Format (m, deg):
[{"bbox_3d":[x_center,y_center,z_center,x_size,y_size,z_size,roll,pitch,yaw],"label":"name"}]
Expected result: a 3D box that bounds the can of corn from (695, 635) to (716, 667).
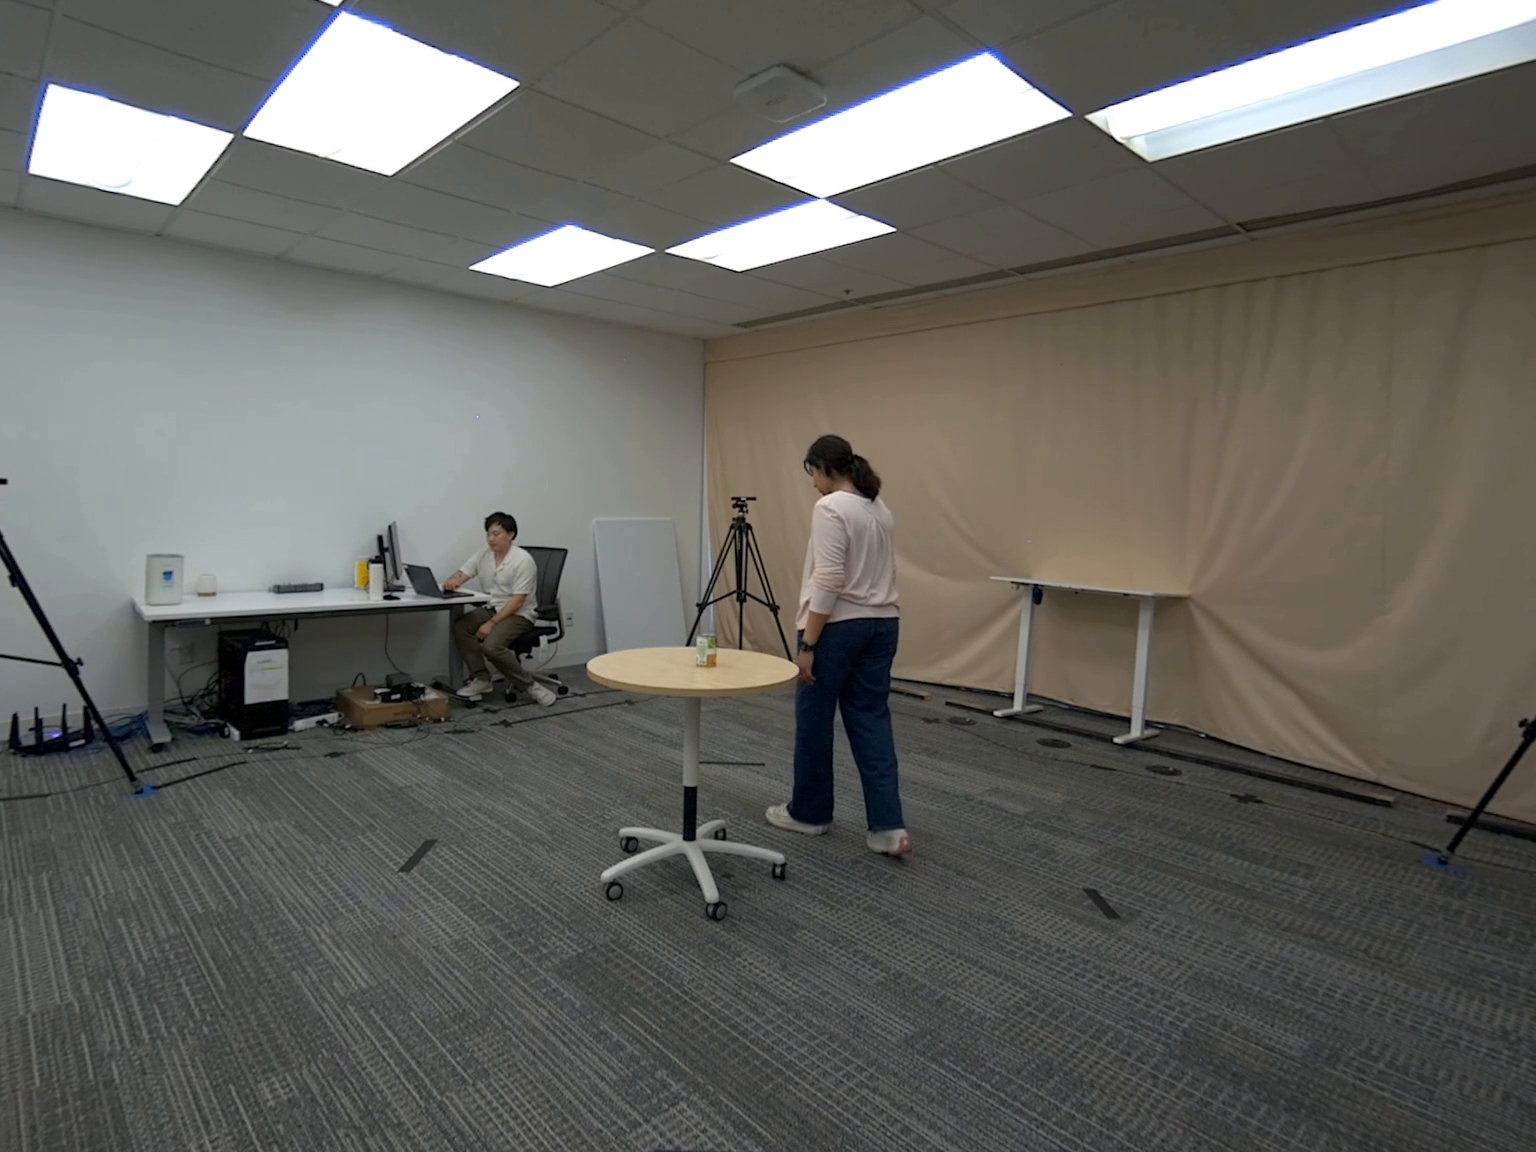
[{"bbox_3d":[-0.229,0.269,3.047,0.074,0.111,0.074,2,3,-1],"label":"can of corn"}]
